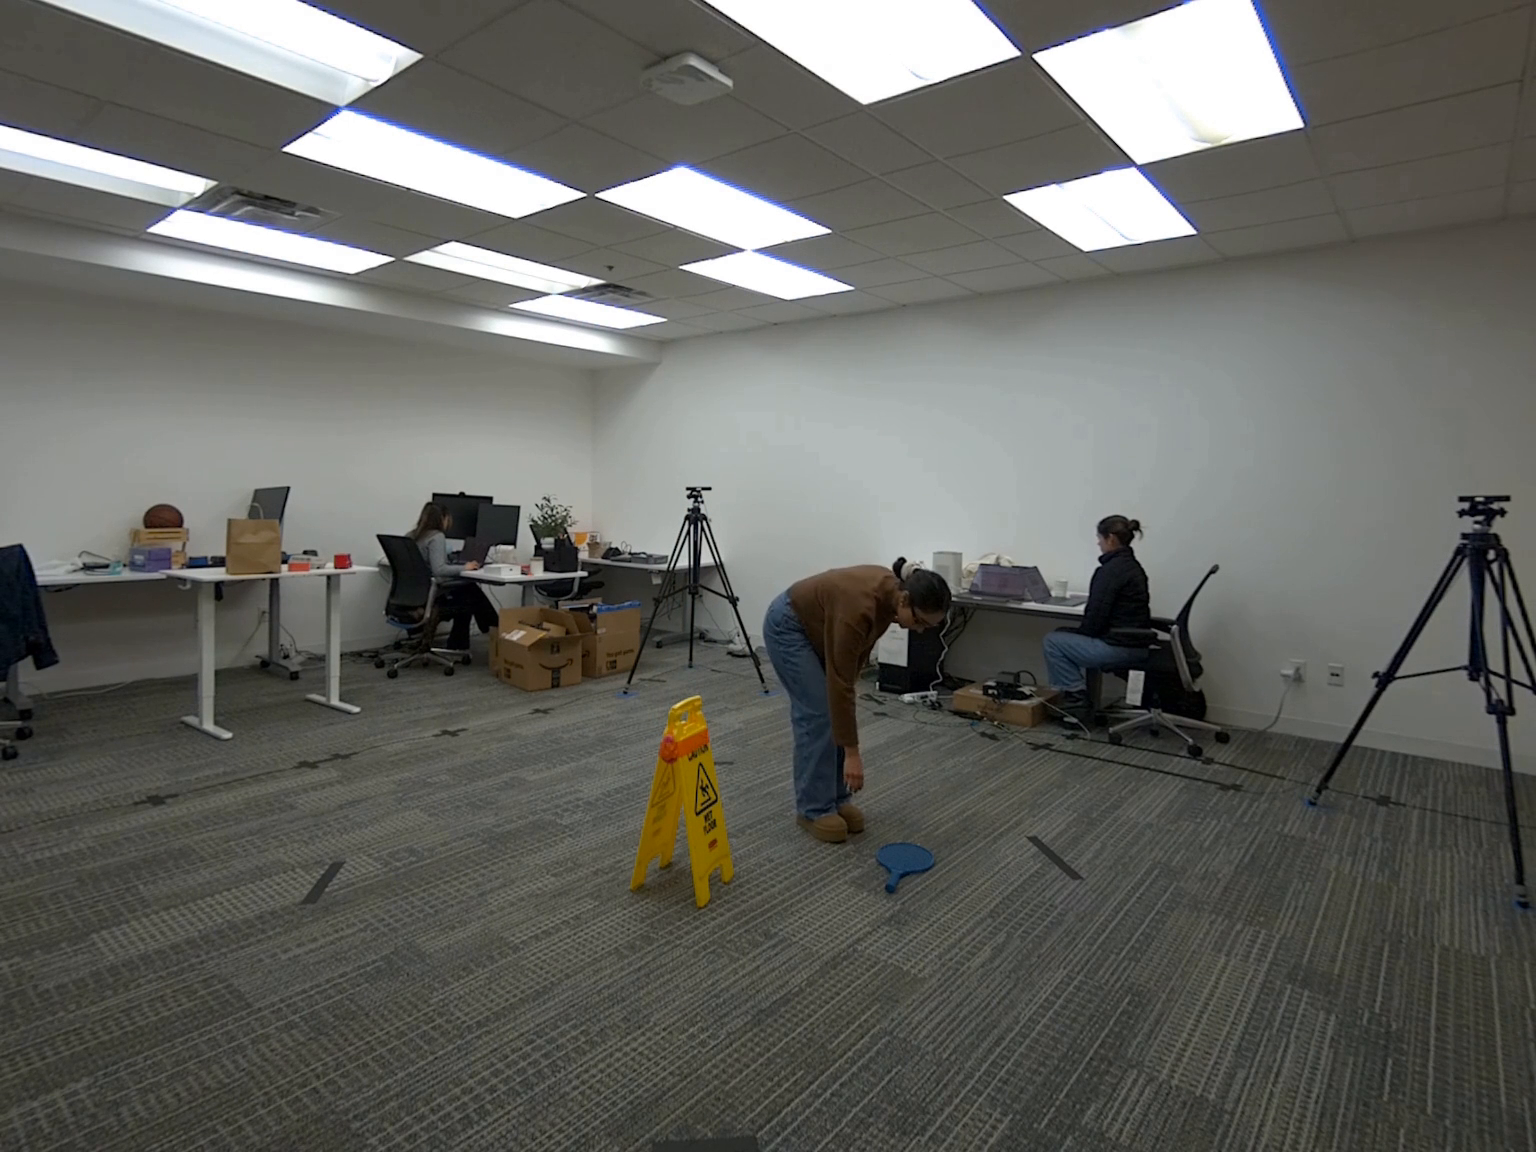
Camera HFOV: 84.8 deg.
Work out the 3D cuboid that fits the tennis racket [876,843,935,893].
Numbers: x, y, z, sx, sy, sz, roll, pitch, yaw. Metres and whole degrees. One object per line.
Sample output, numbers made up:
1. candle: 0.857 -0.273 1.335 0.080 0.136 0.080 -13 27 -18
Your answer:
1. tennis racket: 0.477 1.062 3.147 0.219 0.031 0.424 3 5 22
